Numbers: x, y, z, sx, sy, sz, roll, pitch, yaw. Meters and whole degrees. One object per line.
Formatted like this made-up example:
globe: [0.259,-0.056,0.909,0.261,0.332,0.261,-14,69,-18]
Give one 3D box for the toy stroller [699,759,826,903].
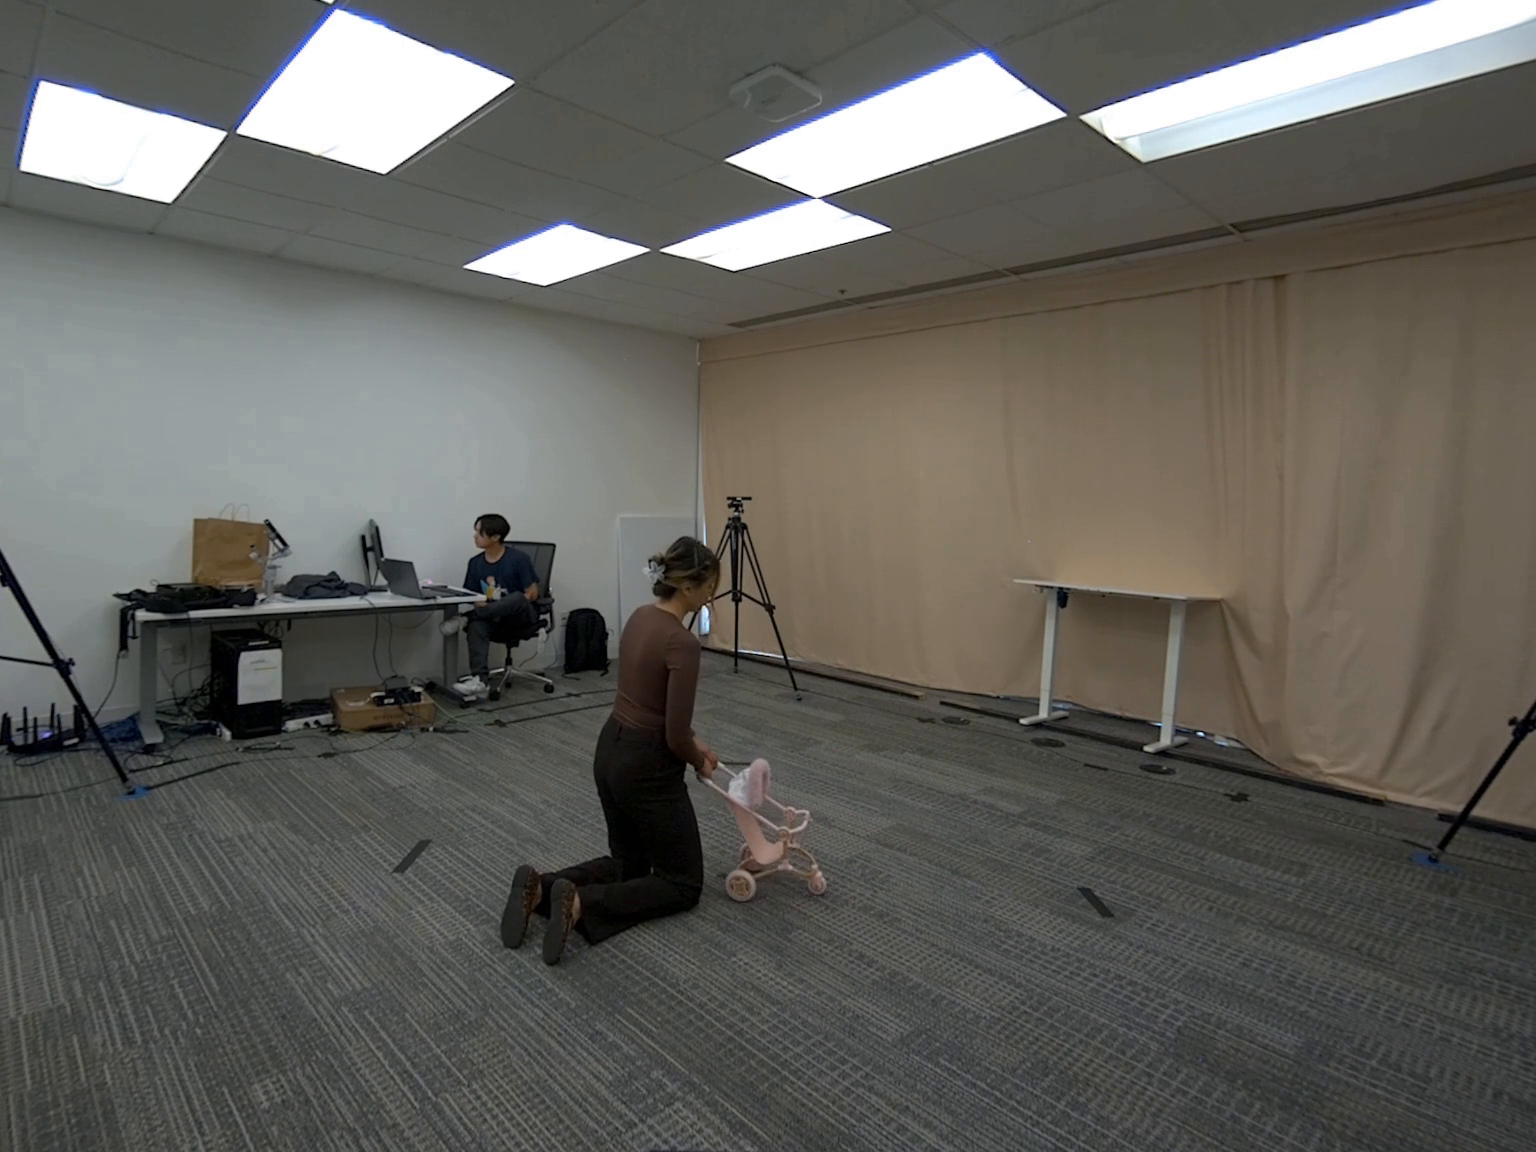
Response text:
toy stroller: [-0.011,0.895,2.998,0.344,0.535,0.279,-16,0,17]
